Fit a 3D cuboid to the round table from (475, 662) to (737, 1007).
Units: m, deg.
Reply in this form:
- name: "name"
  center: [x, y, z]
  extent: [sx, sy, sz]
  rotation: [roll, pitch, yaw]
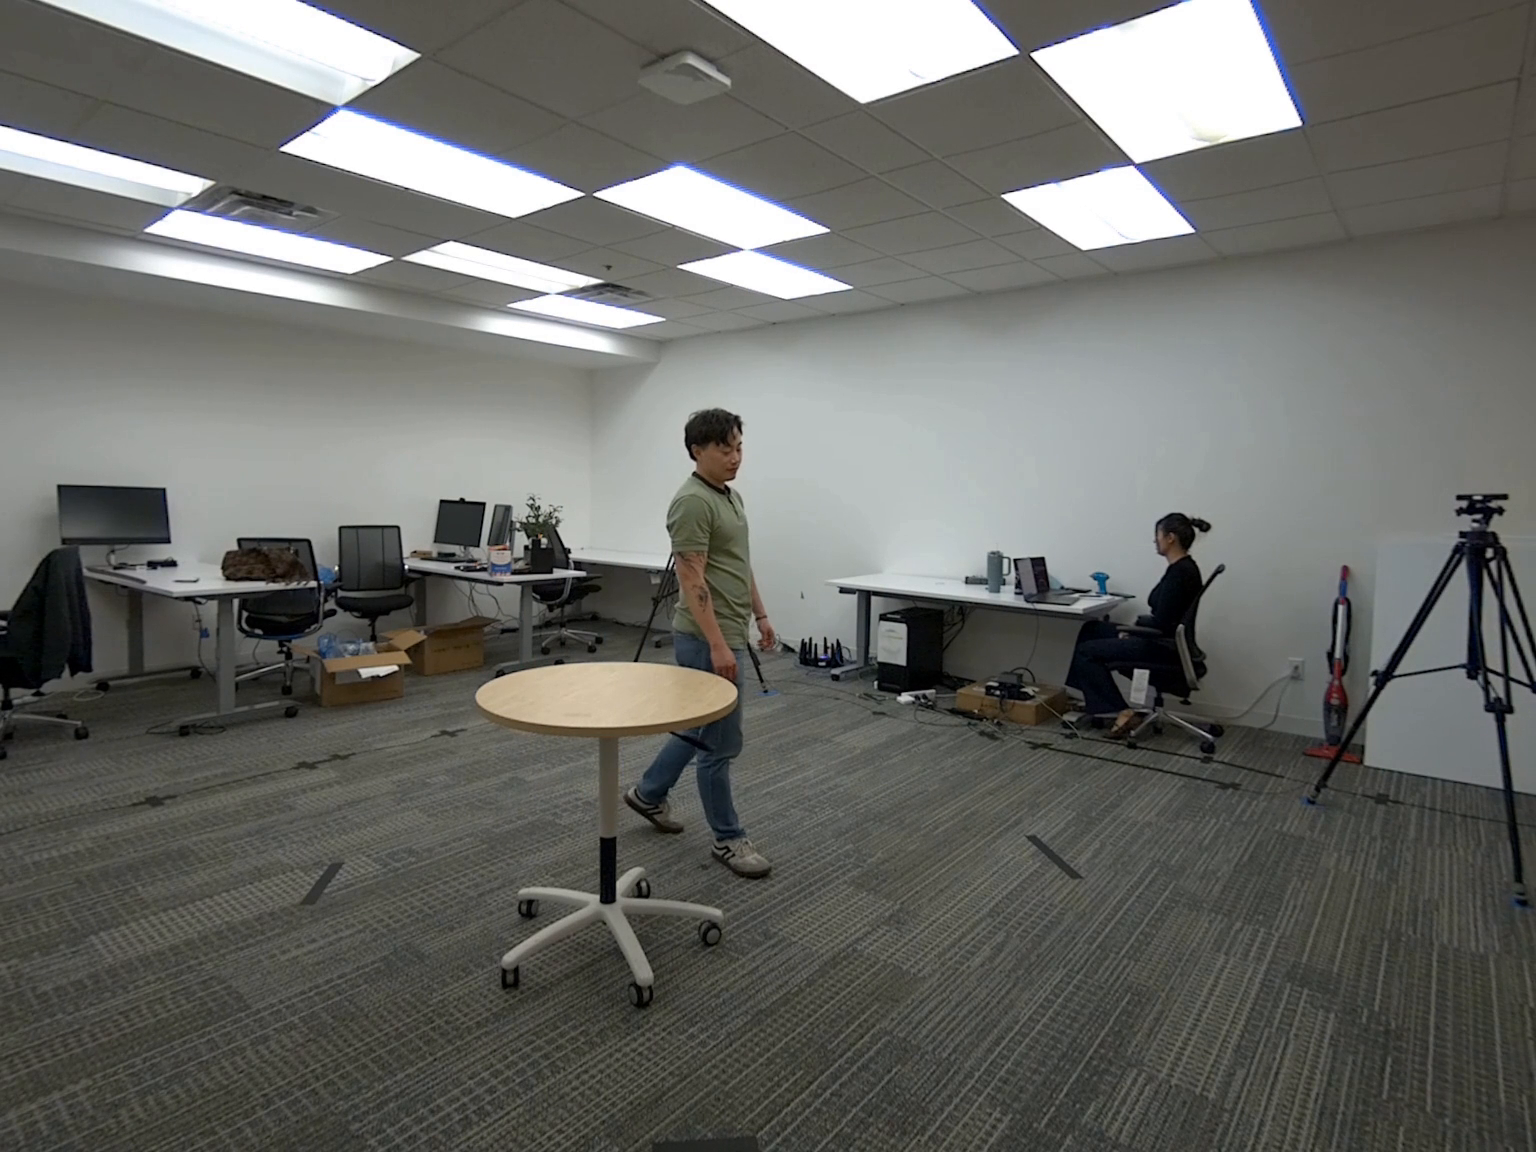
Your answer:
- name: "round table"
  center: [-0.486, 0.728, 2.552]
  extent: [0.763, 0.791, 0.768]
  rotation: [0, 5, -2]
